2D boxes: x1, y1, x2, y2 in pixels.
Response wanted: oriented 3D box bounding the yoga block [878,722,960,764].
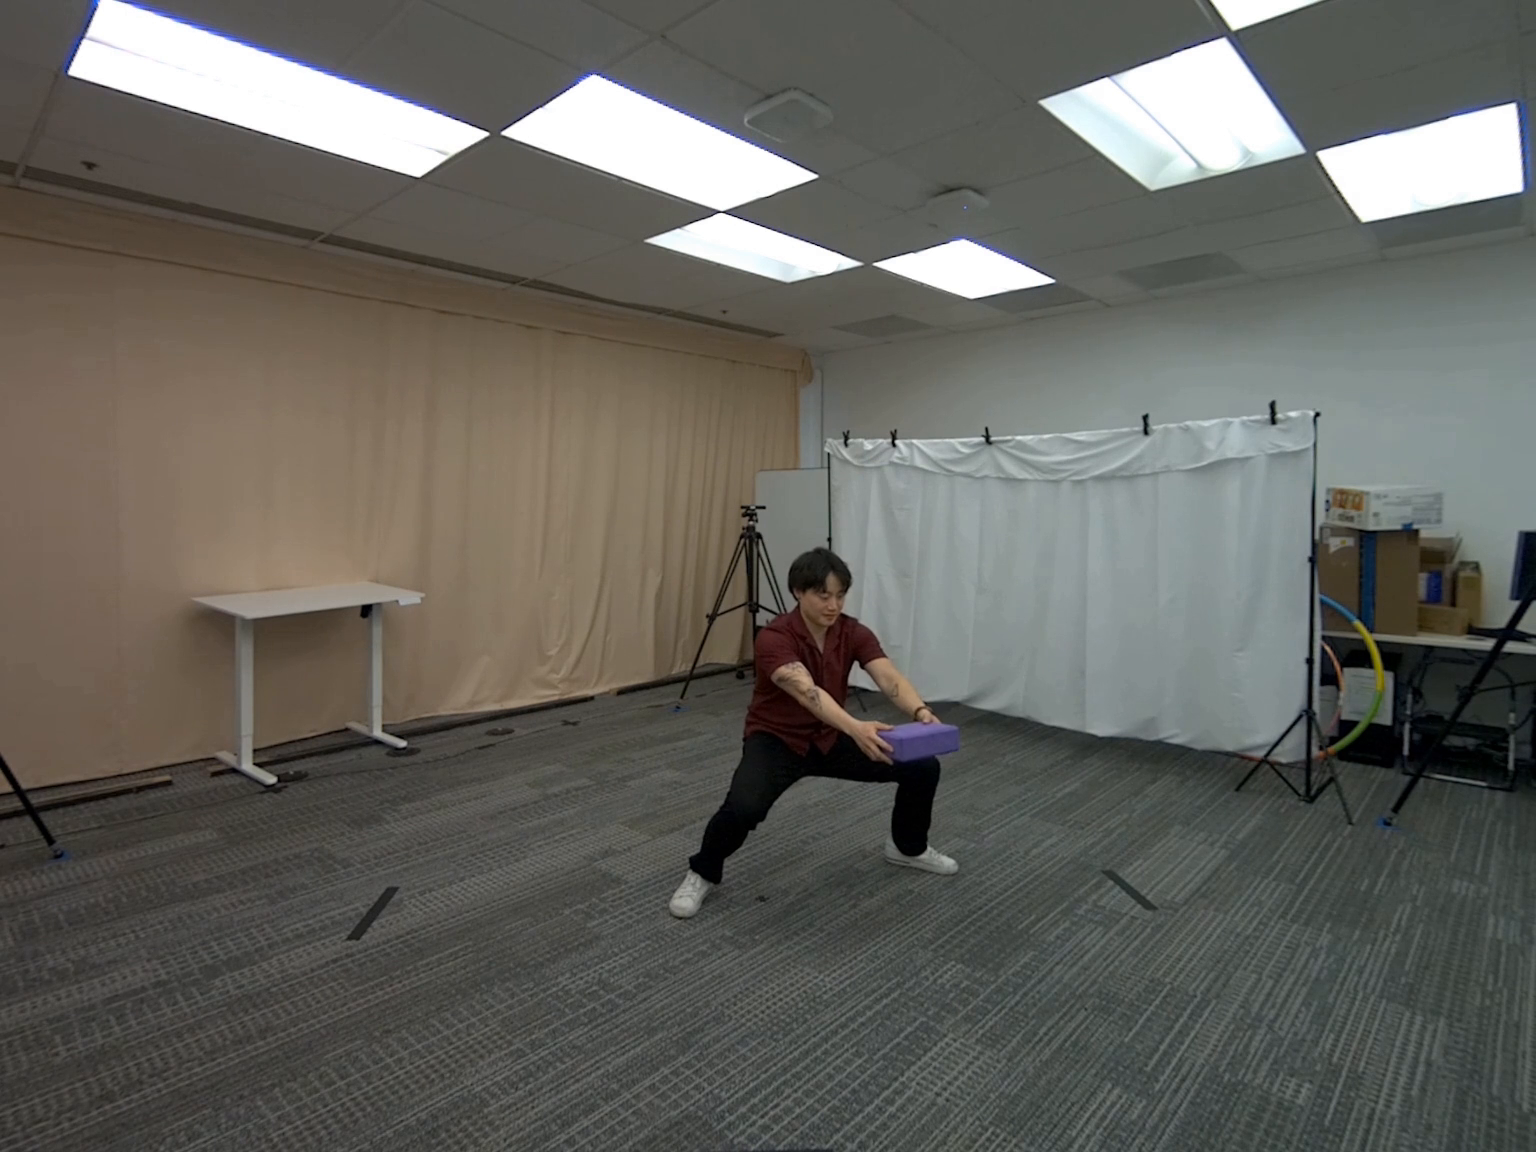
[{"bbox_3d":[0.450,0.483,2.551,0.223,0.076,0.153,-4,0,-29],"label":"yoga block"}]
